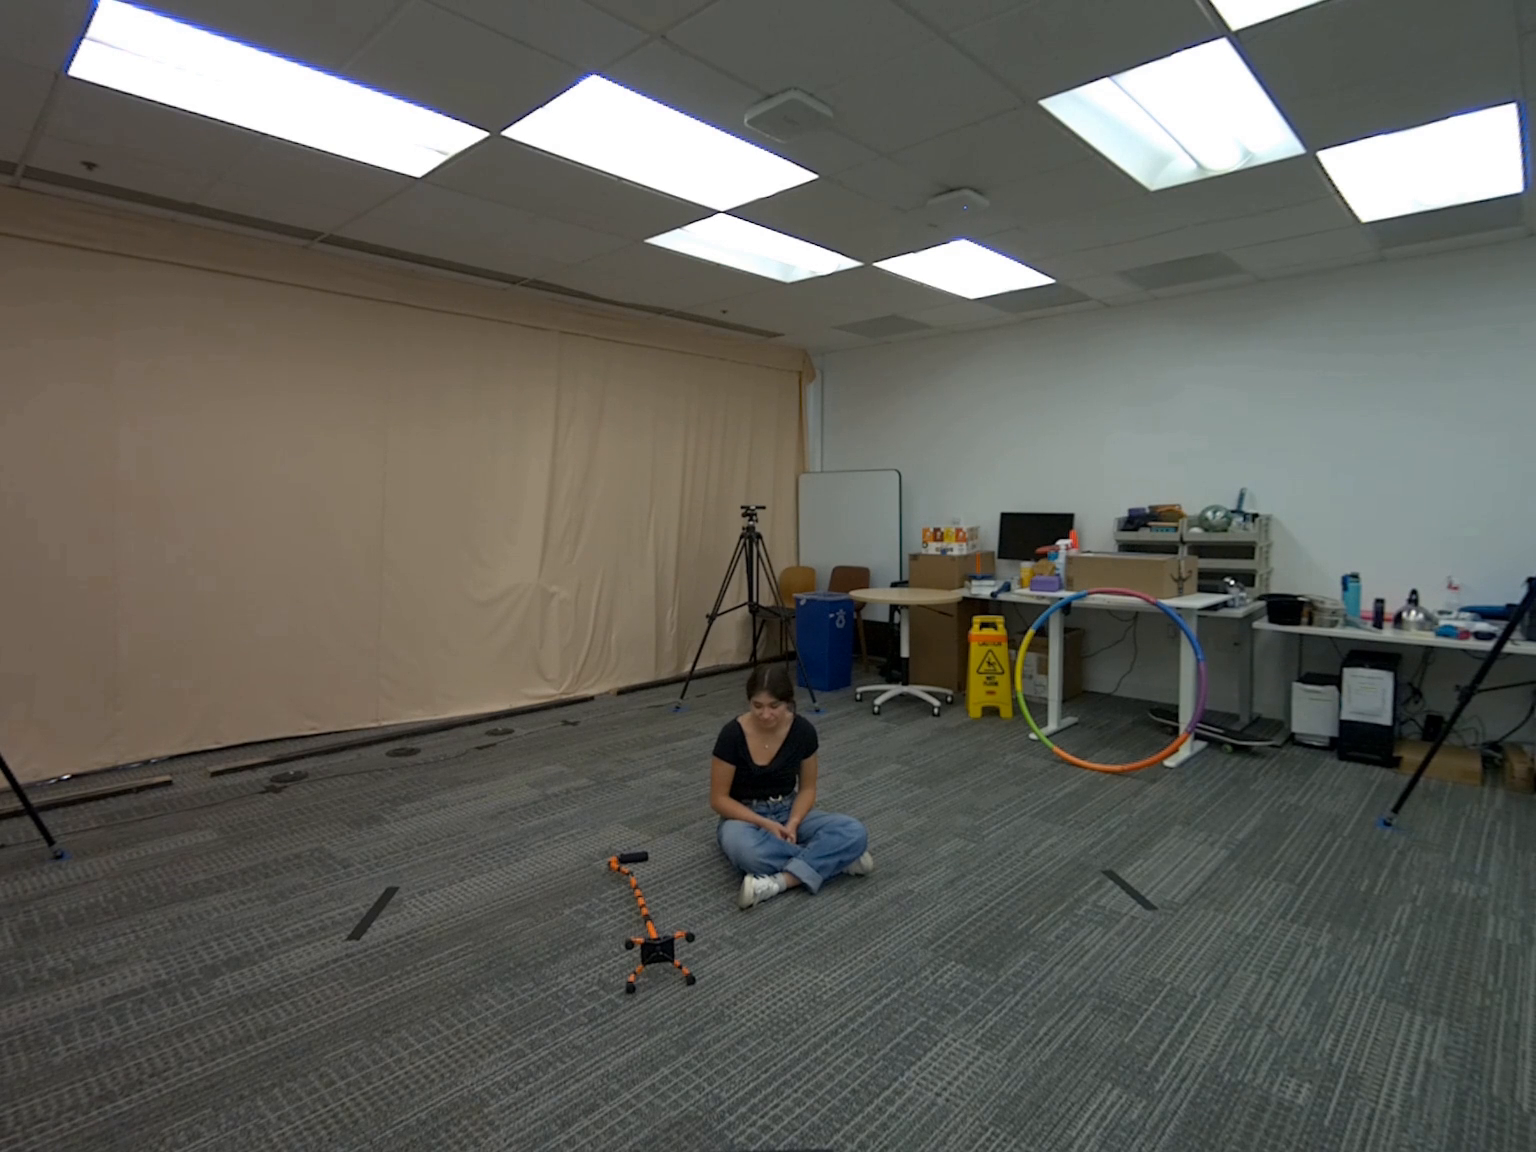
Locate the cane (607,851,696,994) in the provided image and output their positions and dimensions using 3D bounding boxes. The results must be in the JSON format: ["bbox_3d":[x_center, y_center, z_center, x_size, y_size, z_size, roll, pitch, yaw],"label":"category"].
[{"bbox_3d":[-0.431,1.112,2.861,0.203,0.152,0.921,-2,0,-16],"label":"cane"}]
